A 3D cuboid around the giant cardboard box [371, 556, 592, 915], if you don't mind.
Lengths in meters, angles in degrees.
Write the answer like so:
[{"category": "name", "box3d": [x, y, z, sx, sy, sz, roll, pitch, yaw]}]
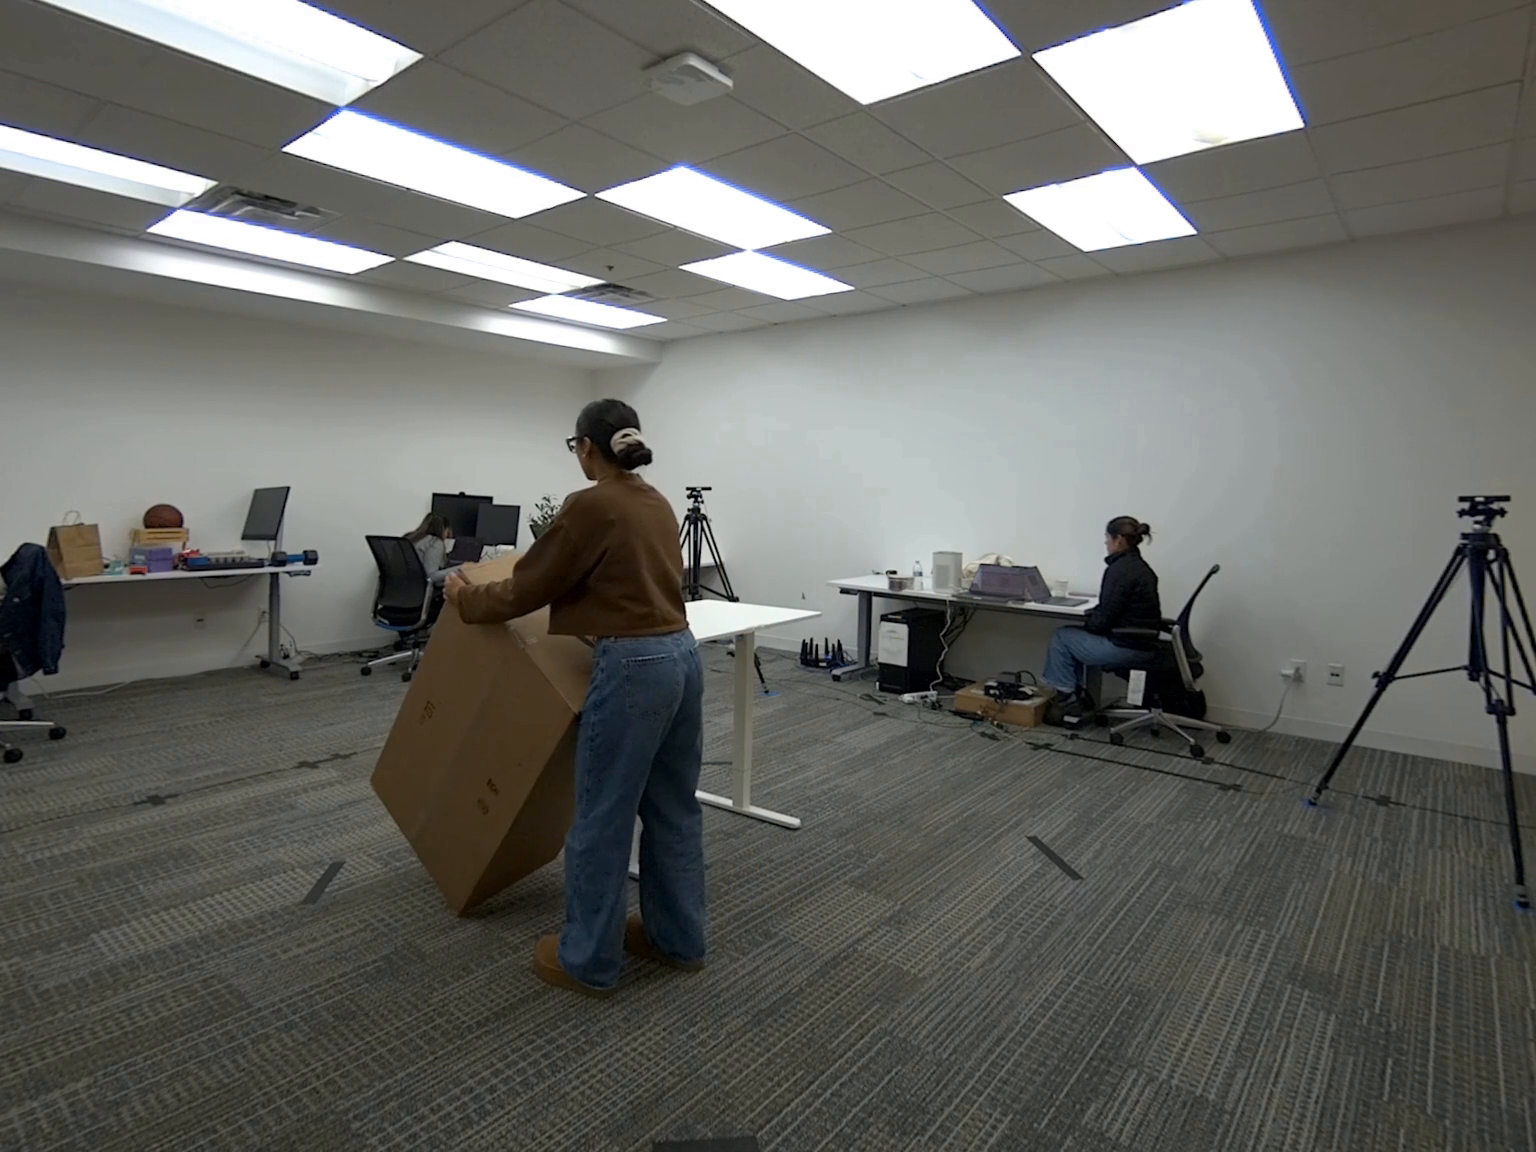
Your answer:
[{"category": "giant cardboard box", "box3d": [-0.838, 0.496, 2.749, 0.595, 1.019, 0.416, 45, 31, 20]}]
